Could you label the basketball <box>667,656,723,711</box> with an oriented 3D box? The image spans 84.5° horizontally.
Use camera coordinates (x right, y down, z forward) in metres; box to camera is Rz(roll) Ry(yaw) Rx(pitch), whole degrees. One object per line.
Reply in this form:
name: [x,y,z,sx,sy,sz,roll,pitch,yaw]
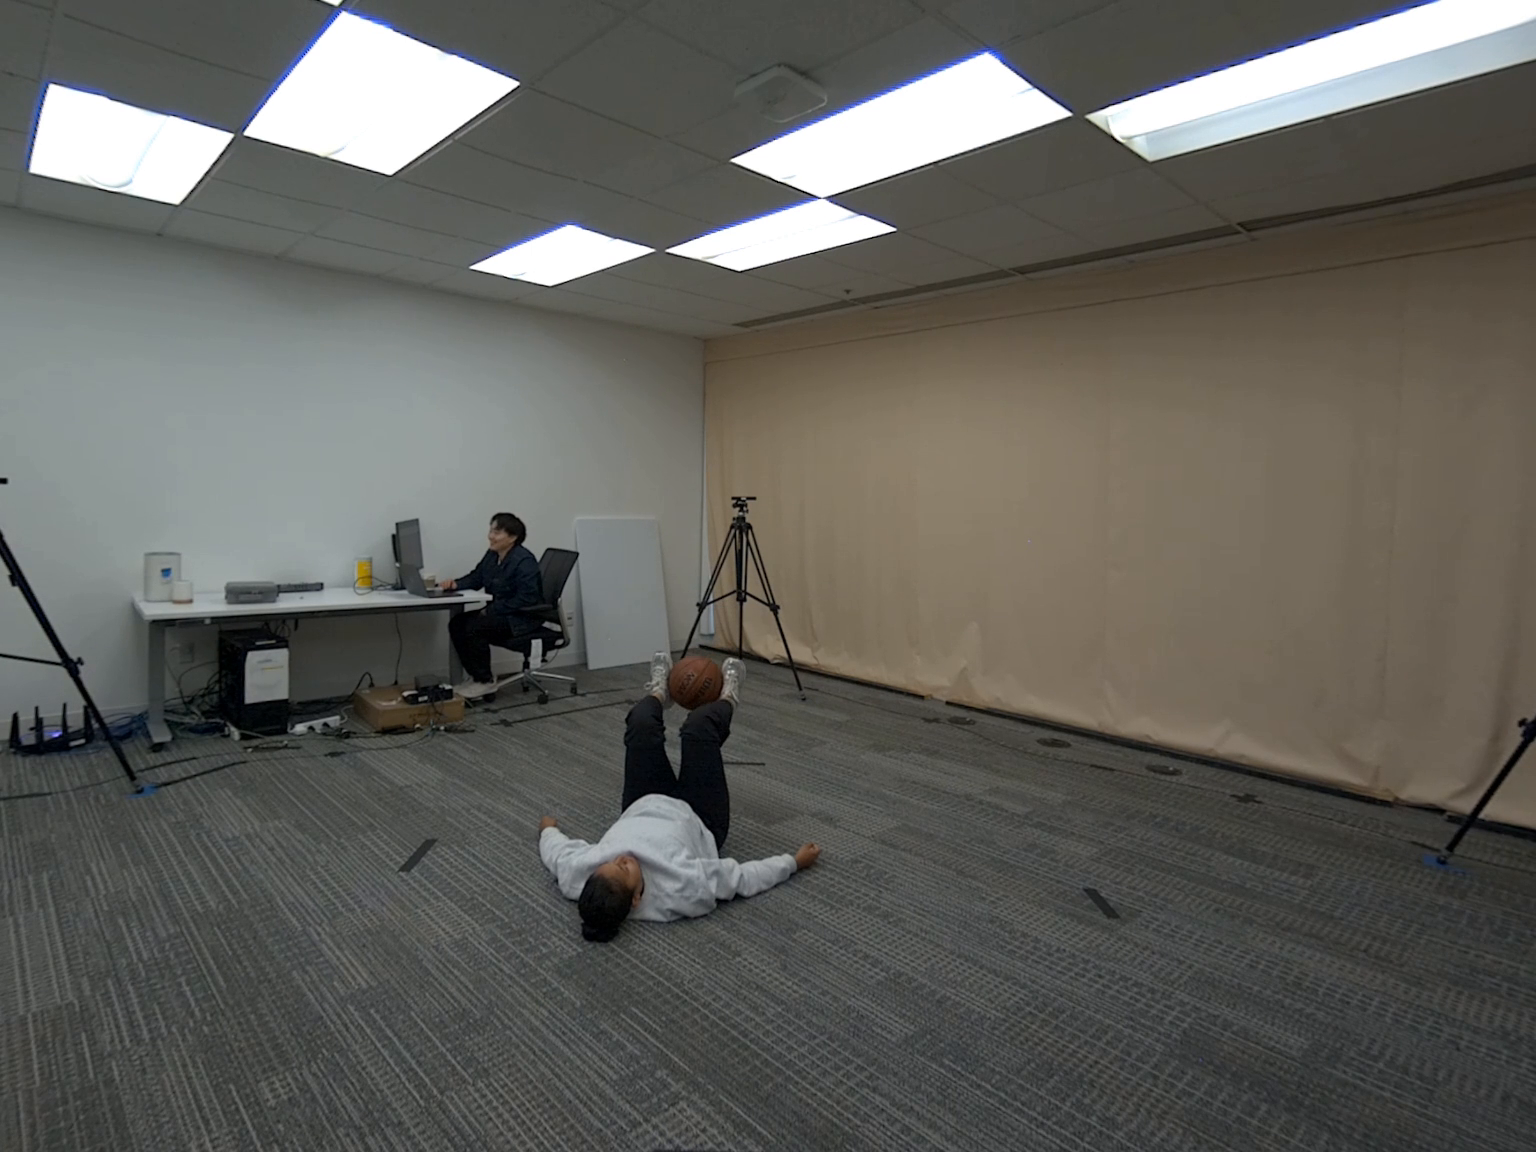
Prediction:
basketball: [-0.324,0.462,3.657,0.235,0.235,0.237,4,7,-2]
